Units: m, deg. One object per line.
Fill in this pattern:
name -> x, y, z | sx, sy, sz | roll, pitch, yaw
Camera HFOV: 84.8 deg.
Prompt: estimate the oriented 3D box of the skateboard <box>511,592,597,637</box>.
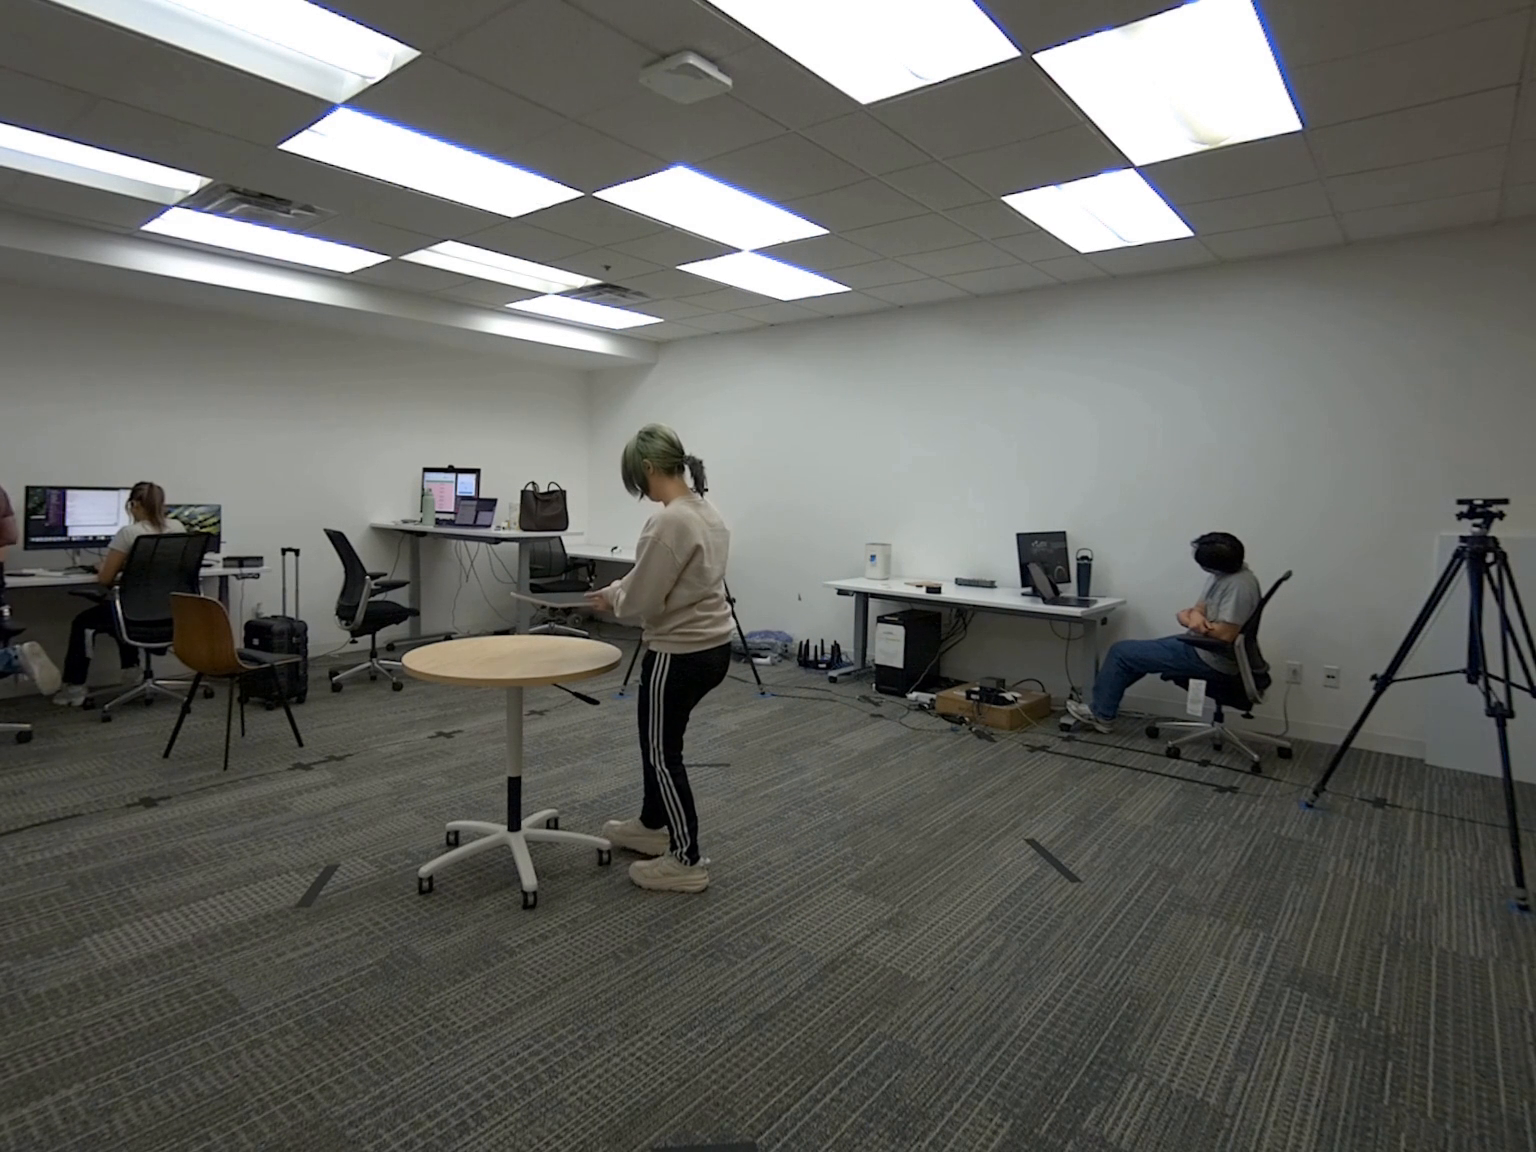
skateboard -> -0.582, 0.115, 3.113 | 0.761, 0.110, 0.201 | -1, 10, -43
